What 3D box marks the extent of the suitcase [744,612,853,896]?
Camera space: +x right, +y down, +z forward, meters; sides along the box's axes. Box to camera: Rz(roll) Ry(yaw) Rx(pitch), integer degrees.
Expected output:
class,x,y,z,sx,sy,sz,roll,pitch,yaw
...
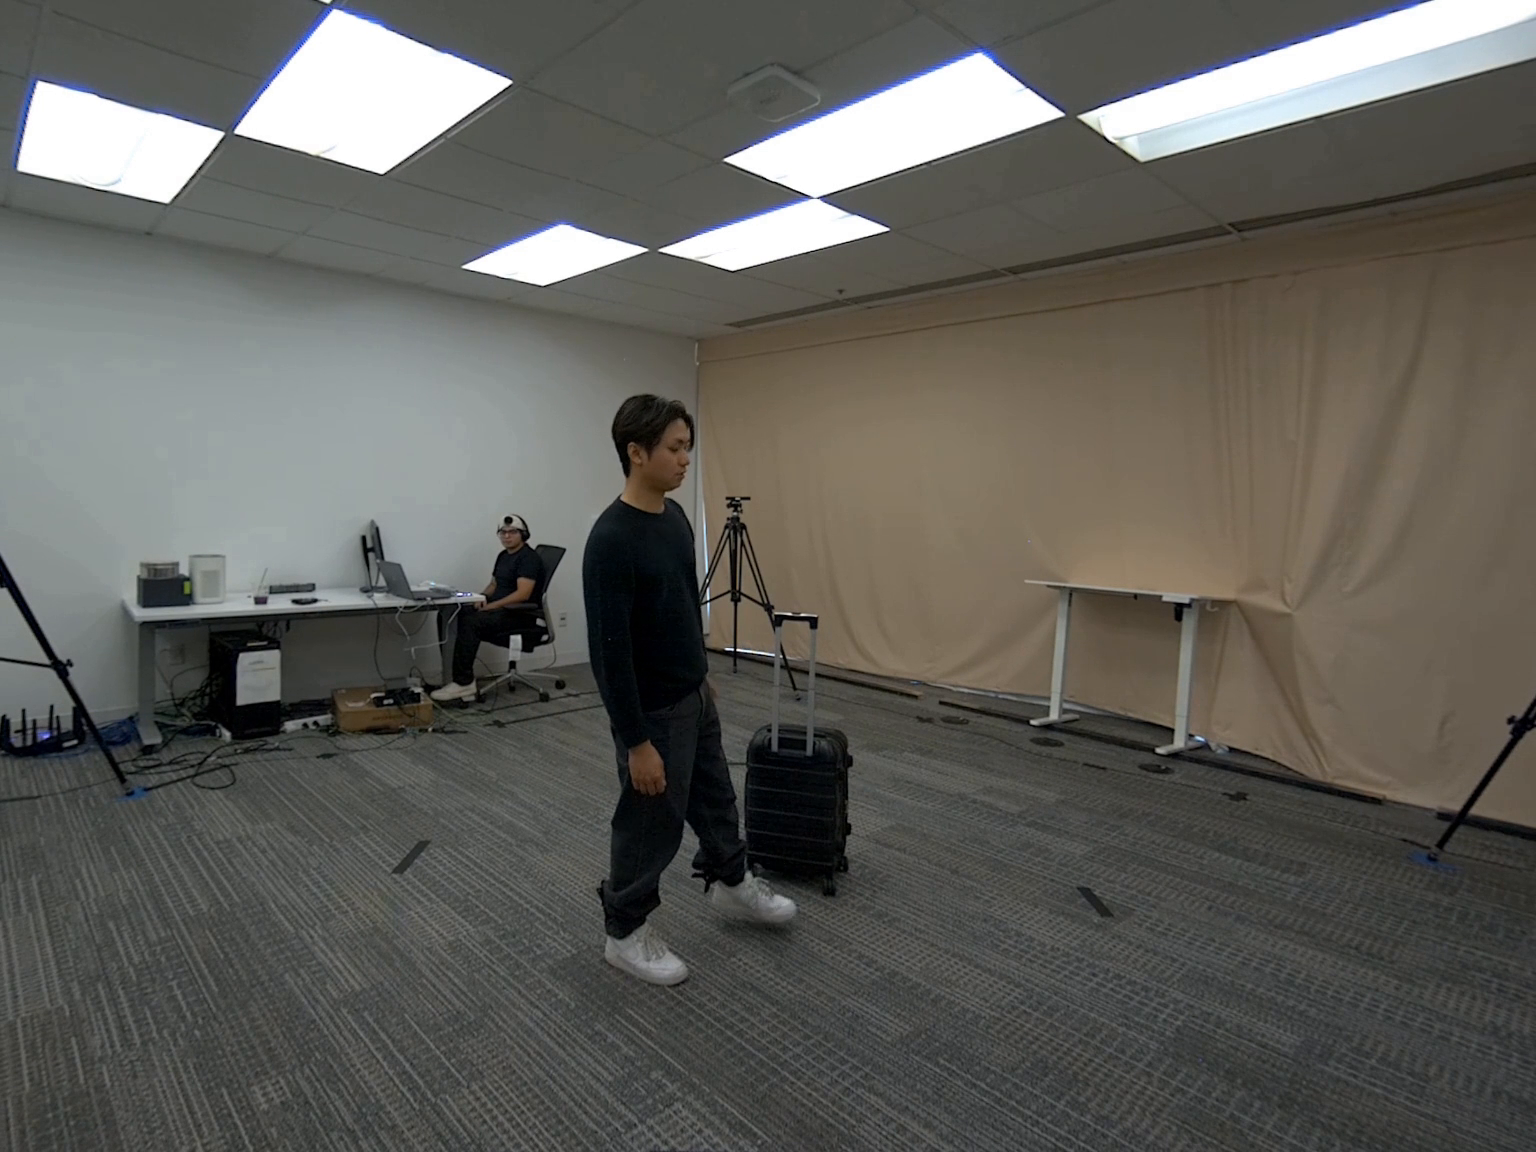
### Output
class,x,y,z,sx,sy,sz,roll,pitch,yaw
suitcase,0.112,0.629,3.125,0.390,0.978,0.253,2,1,19
